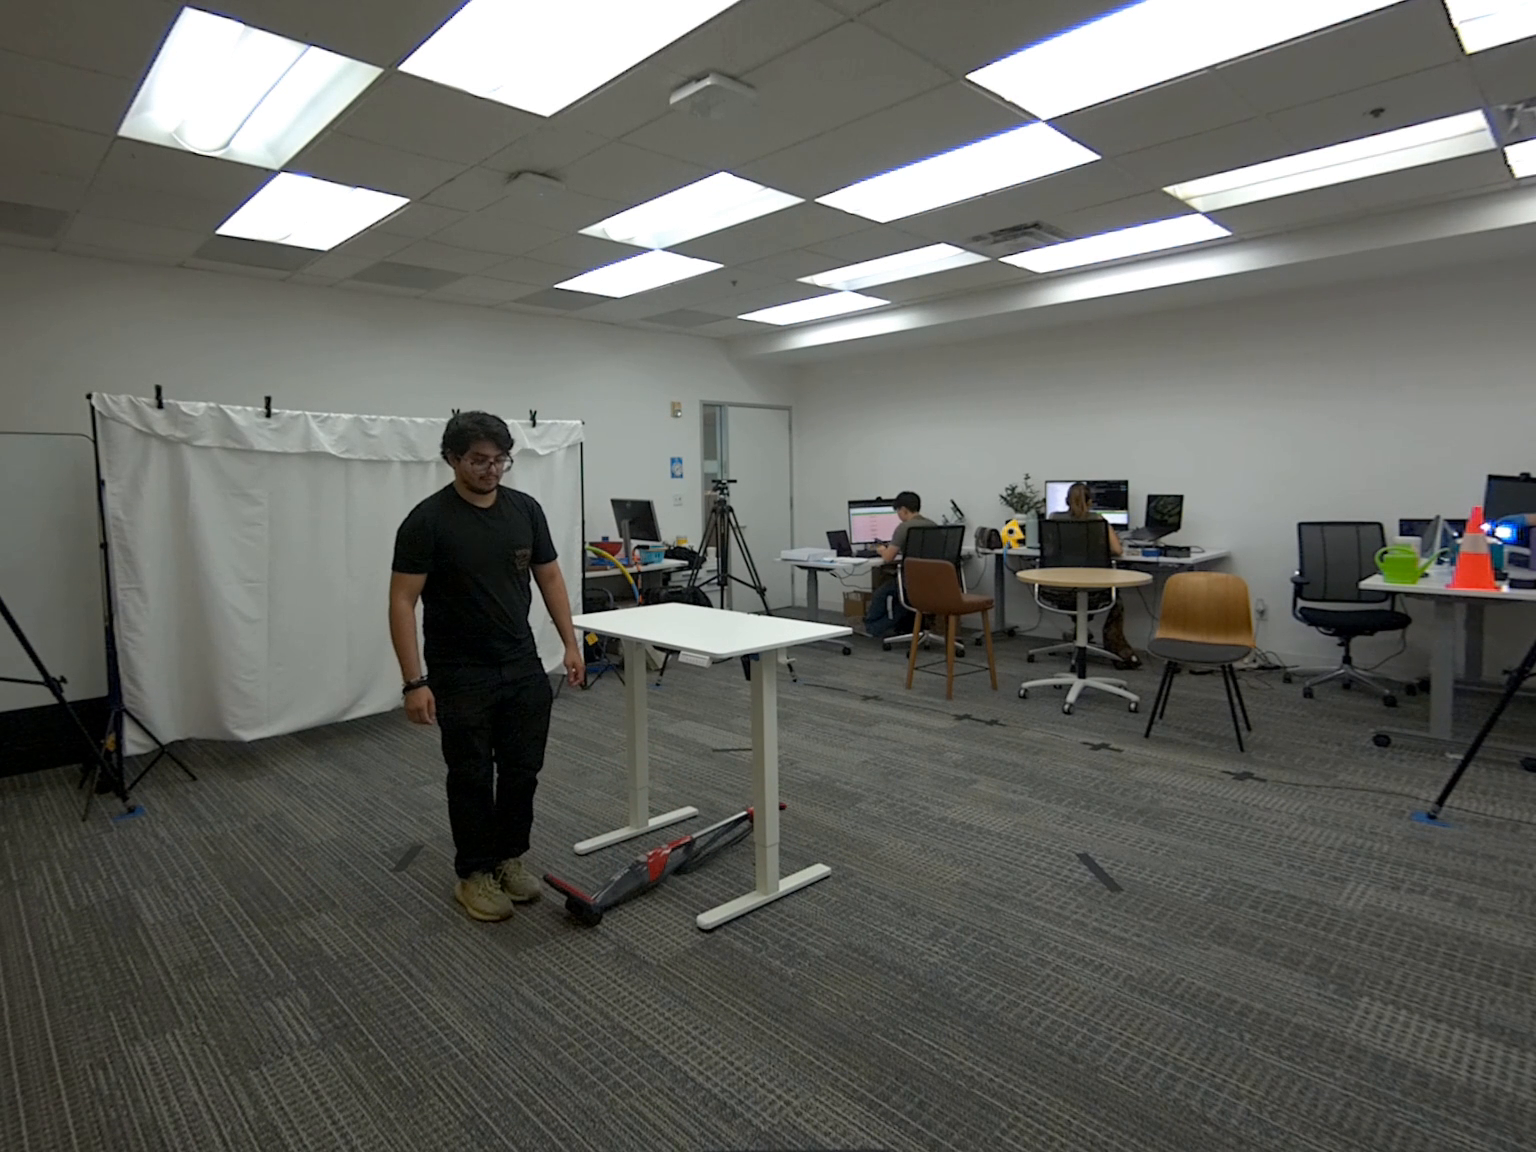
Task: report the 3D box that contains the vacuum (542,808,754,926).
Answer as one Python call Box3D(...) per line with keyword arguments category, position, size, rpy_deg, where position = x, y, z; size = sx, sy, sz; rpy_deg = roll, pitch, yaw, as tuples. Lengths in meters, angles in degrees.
Box3D(category="vacuum", position=(-0.278, 0.995, 3.084), size=(0.261, 0.143, 1.022), rpy_deg=(8, 10, 41))
